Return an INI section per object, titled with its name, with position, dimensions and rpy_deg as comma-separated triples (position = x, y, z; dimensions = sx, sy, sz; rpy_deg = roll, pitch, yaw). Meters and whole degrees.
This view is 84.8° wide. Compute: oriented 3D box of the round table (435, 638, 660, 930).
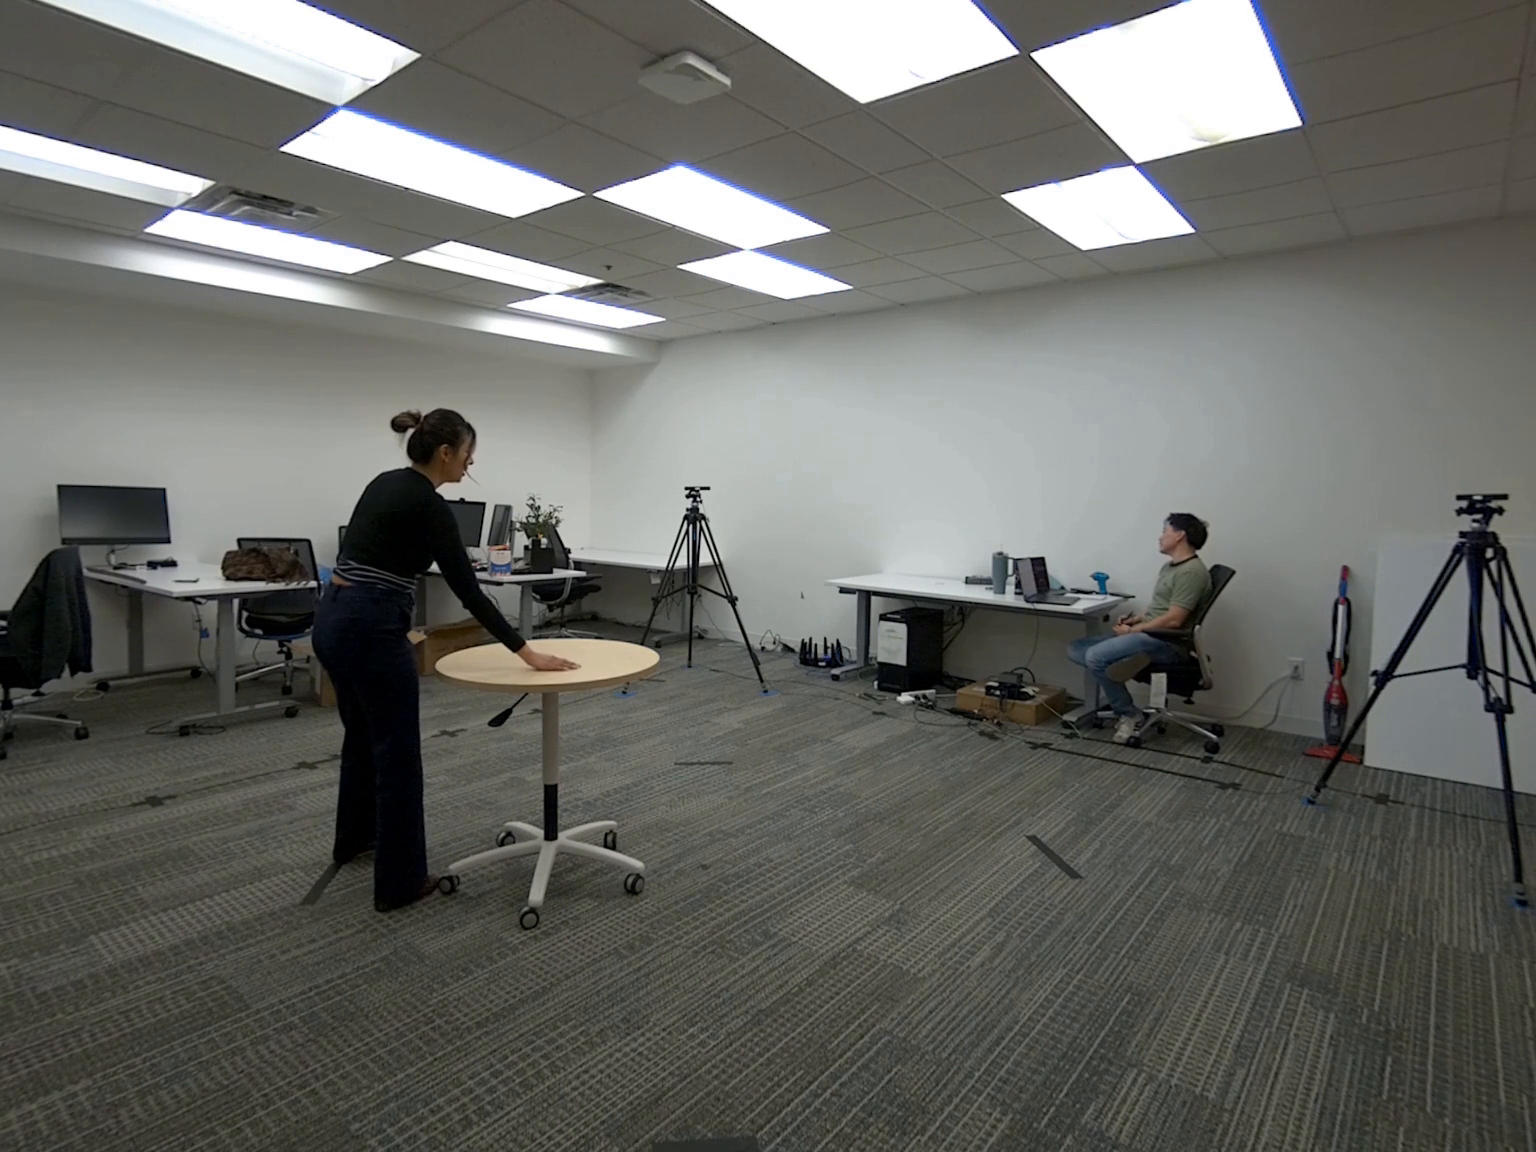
[round table]
position = -0.779, 0.683, 2.995
dimensions = 0.763, 0.791, 0.768
rpy_deg = 0, 4, -2
